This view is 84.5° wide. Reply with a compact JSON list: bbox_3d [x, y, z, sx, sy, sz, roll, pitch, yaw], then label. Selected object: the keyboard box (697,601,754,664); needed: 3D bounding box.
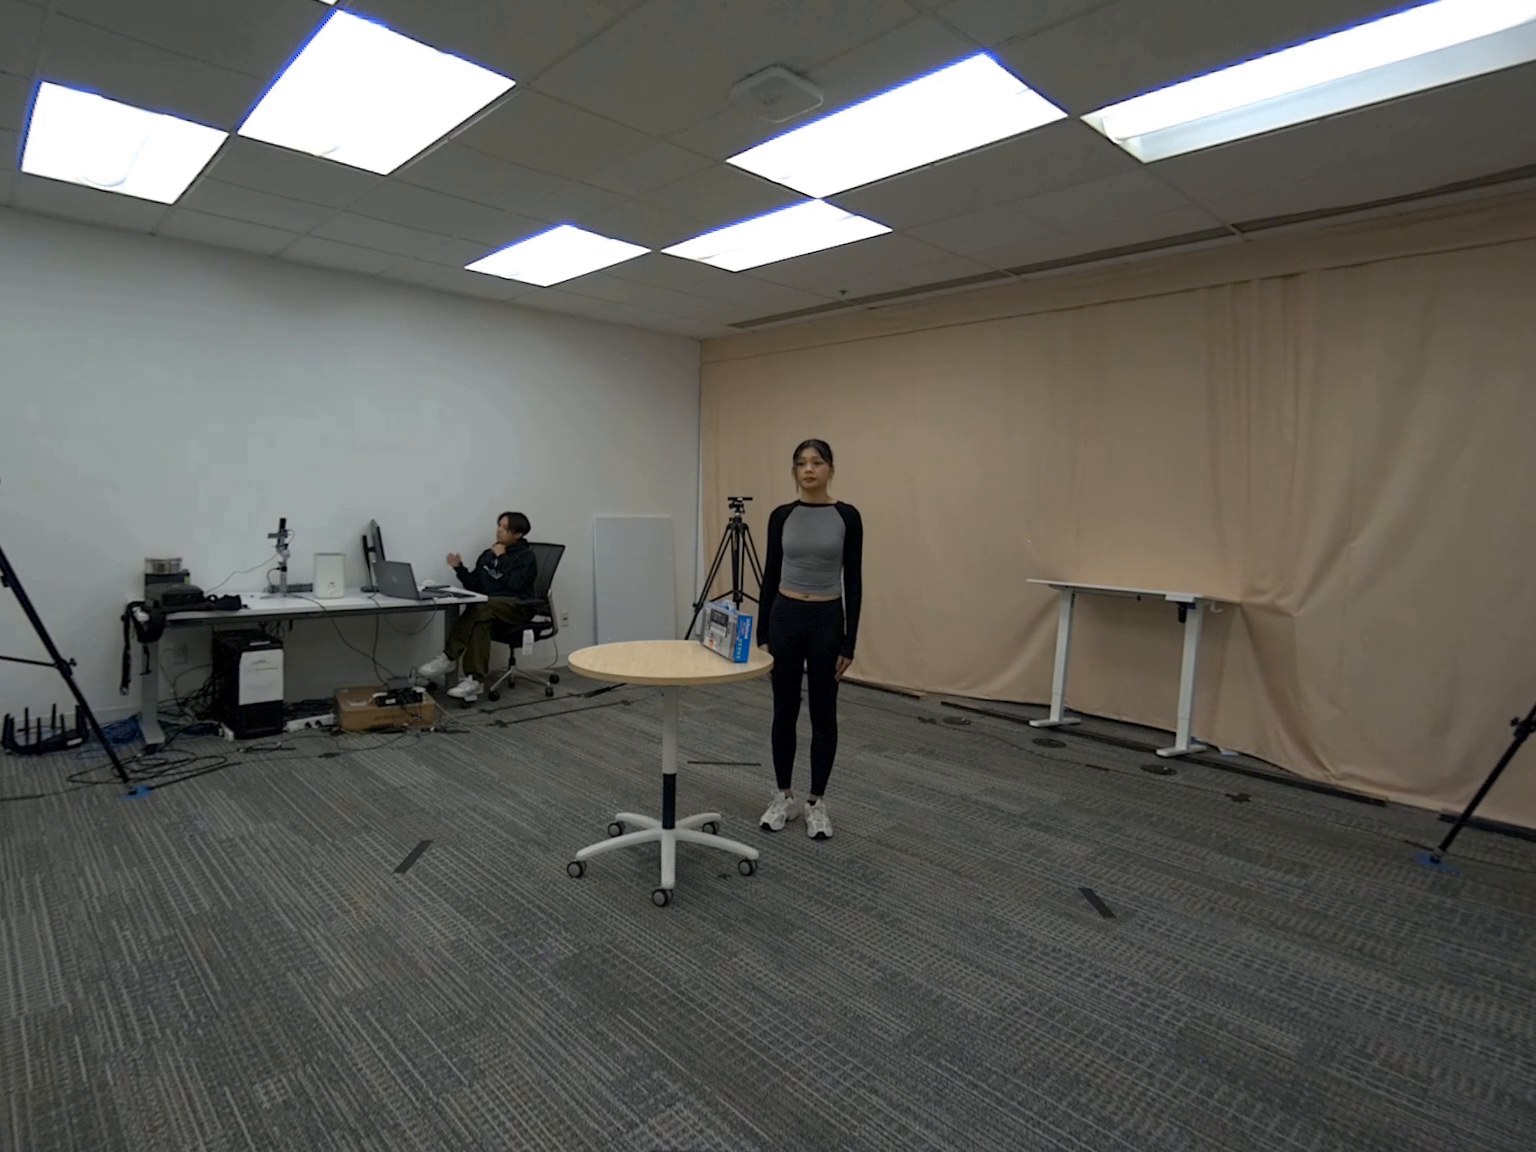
[{"bbox_3d":[-0.174,0.212,3.257,0.058,0.176,0.444,6,2,-20],"label":"keyboard box"}]
